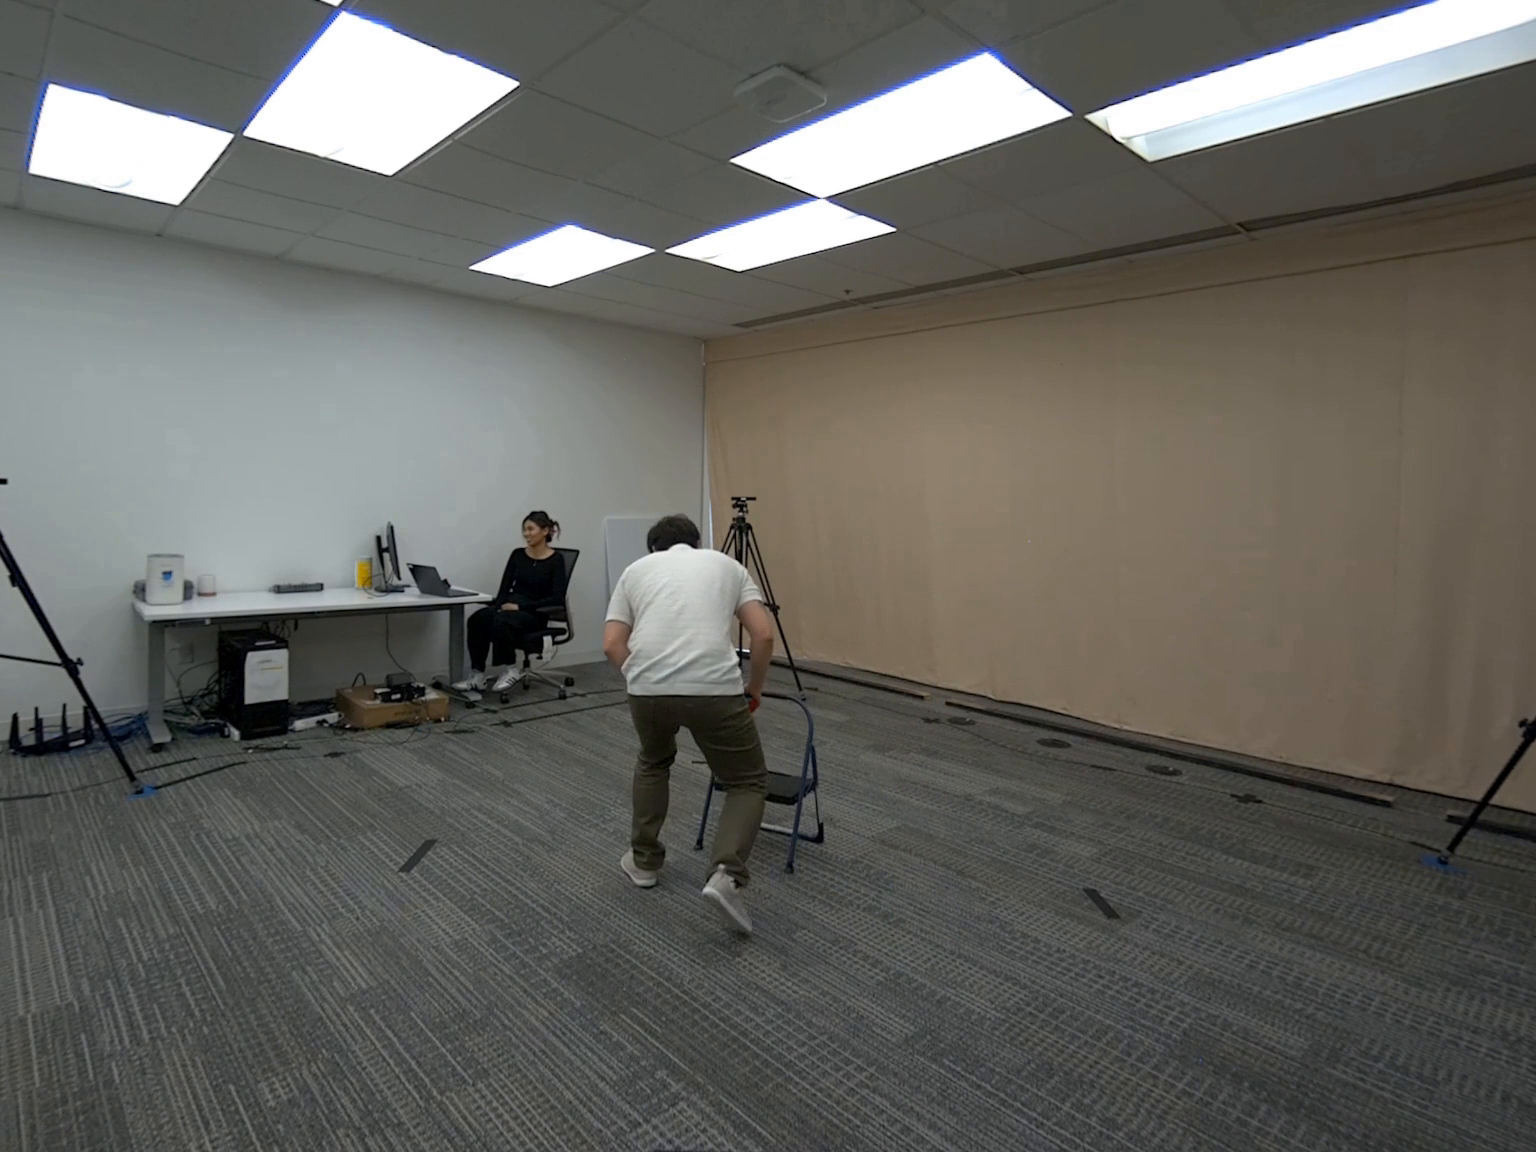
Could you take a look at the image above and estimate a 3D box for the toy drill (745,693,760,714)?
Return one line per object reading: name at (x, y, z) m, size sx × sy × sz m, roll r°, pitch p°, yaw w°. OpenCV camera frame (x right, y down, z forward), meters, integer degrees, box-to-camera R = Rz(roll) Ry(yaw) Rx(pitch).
toy drill at (-0.104, 0.508, 3.159) m, size 0.060 × 0.170 × 0.149 m, roll 43°, pitch 7°, yaw -22°
